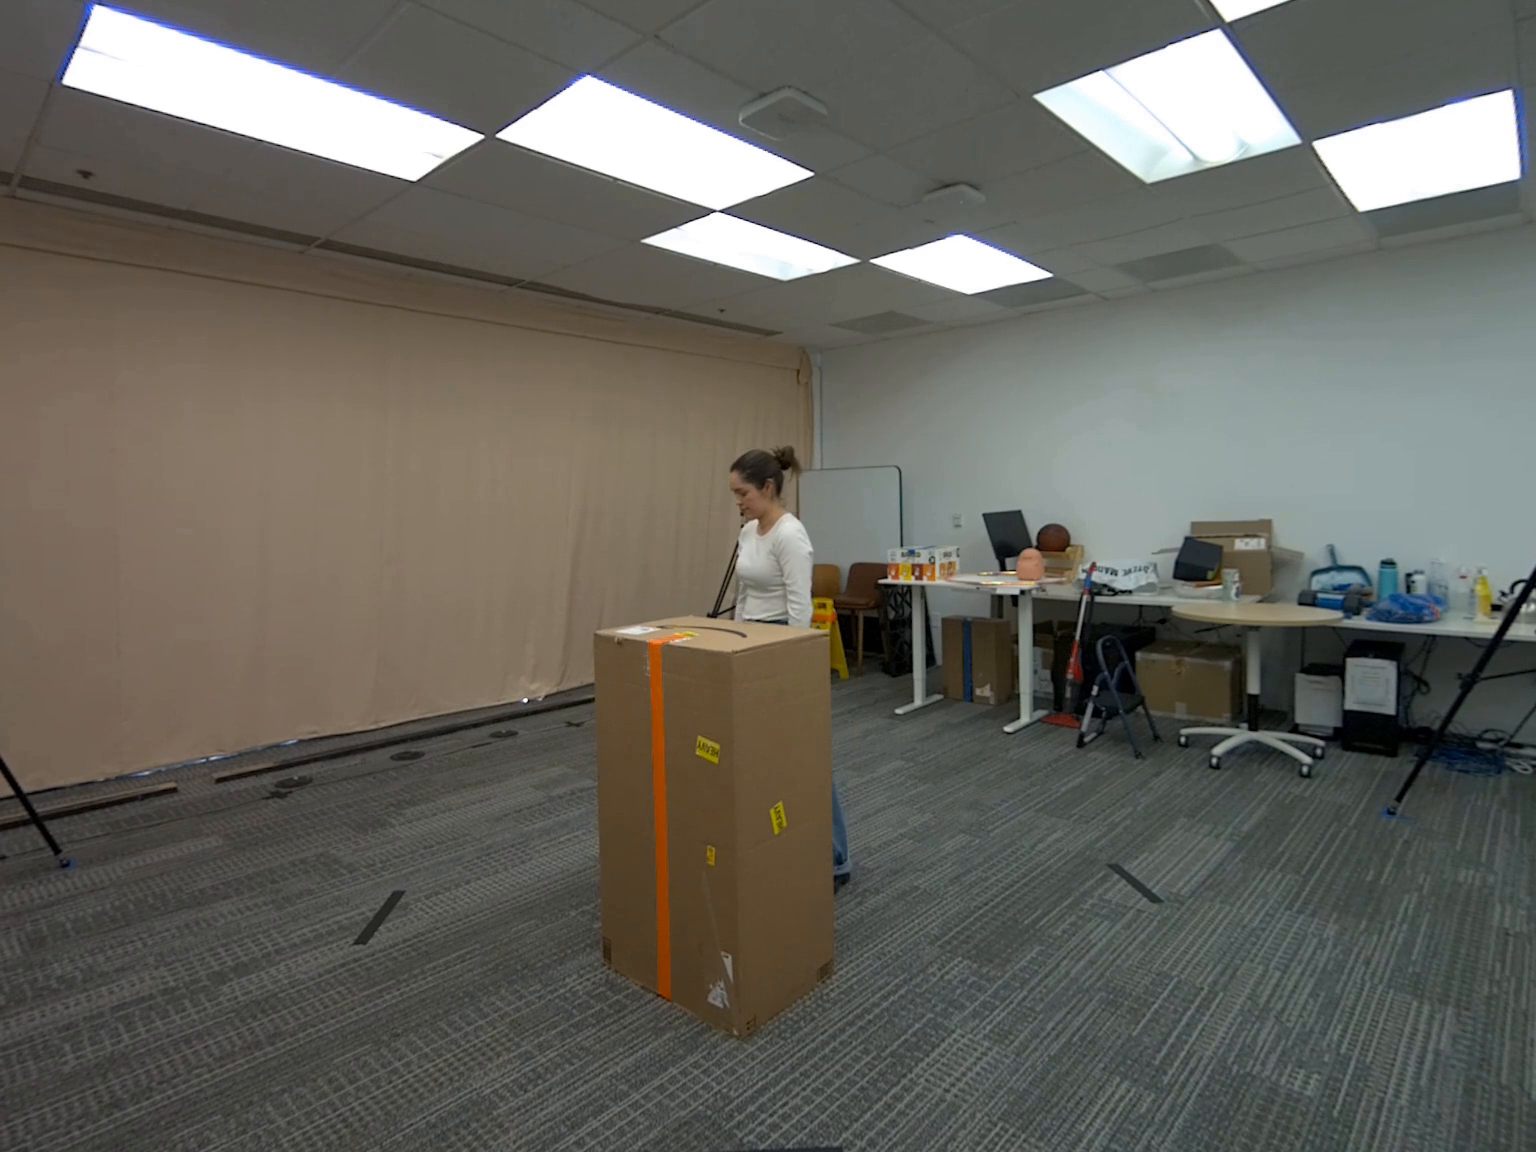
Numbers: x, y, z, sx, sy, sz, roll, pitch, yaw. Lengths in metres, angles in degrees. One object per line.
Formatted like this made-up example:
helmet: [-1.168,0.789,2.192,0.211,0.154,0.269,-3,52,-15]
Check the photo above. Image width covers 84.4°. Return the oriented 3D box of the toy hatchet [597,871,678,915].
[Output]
toy hatchet: [-0.470,1.137,3.051,0.135,0.029,0.262,-1,3,39]
